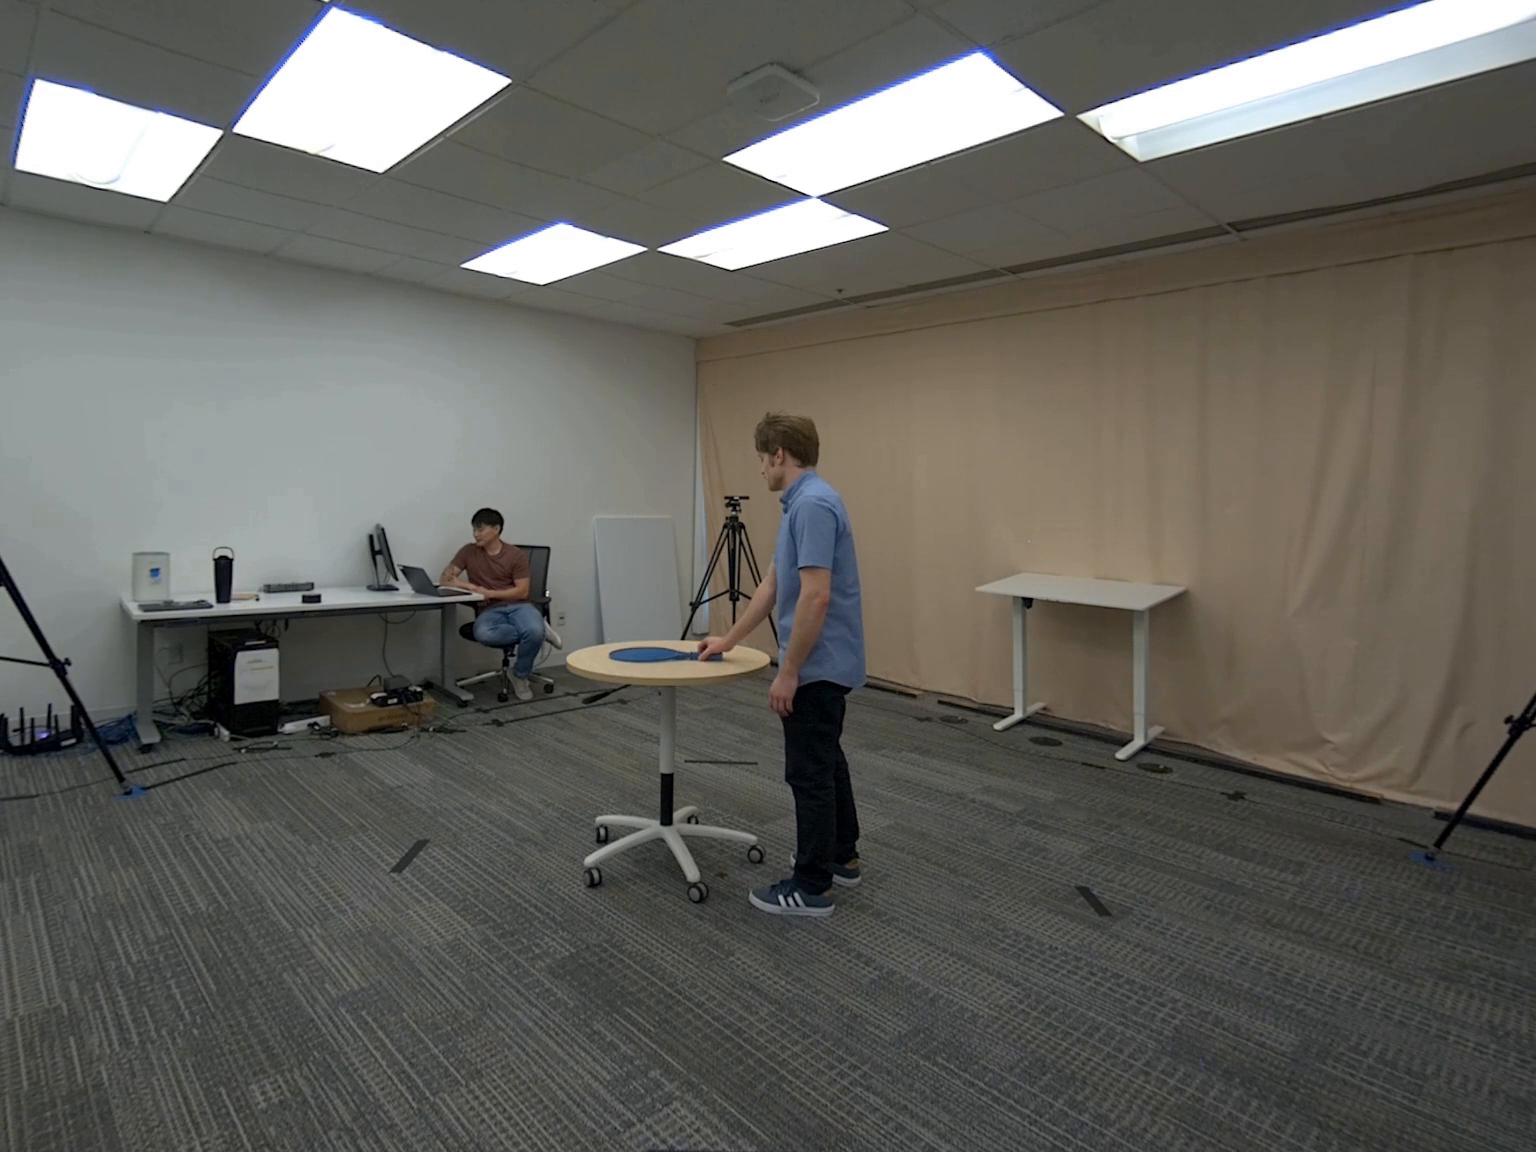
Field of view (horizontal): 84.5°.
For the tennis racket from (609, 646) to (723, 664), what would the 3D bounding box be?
[{"bbox_3d":[-0.392,0.300,3.141,0.435,0.031,0.213,0,7,6],"label":"tennis racket"}]
